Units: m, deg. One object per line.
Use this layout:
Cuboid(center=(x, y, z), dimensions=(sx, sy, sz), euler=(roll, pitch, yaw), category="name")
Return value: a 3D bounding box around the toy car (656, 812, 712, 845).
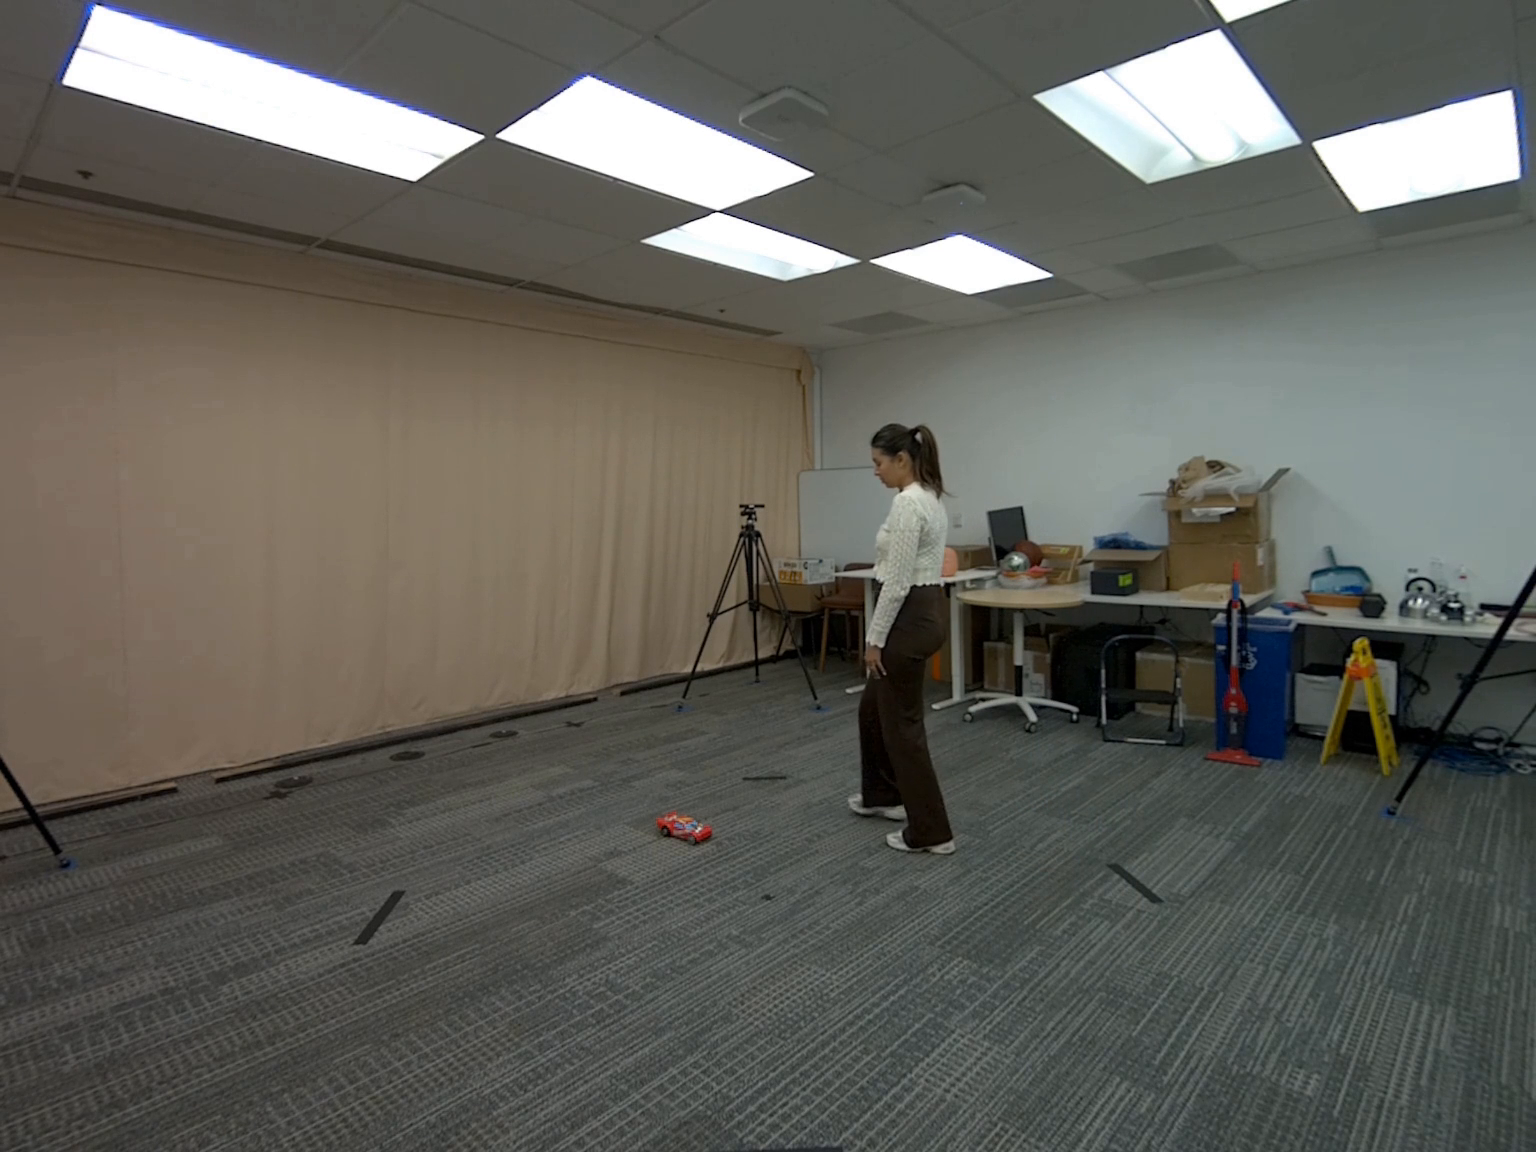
Cuboid(center=(-0.359, 1.067, 3.562), dimensions=(0.263, 0.083, 0.126), euler=(16, 13, 37), category="toy car")
